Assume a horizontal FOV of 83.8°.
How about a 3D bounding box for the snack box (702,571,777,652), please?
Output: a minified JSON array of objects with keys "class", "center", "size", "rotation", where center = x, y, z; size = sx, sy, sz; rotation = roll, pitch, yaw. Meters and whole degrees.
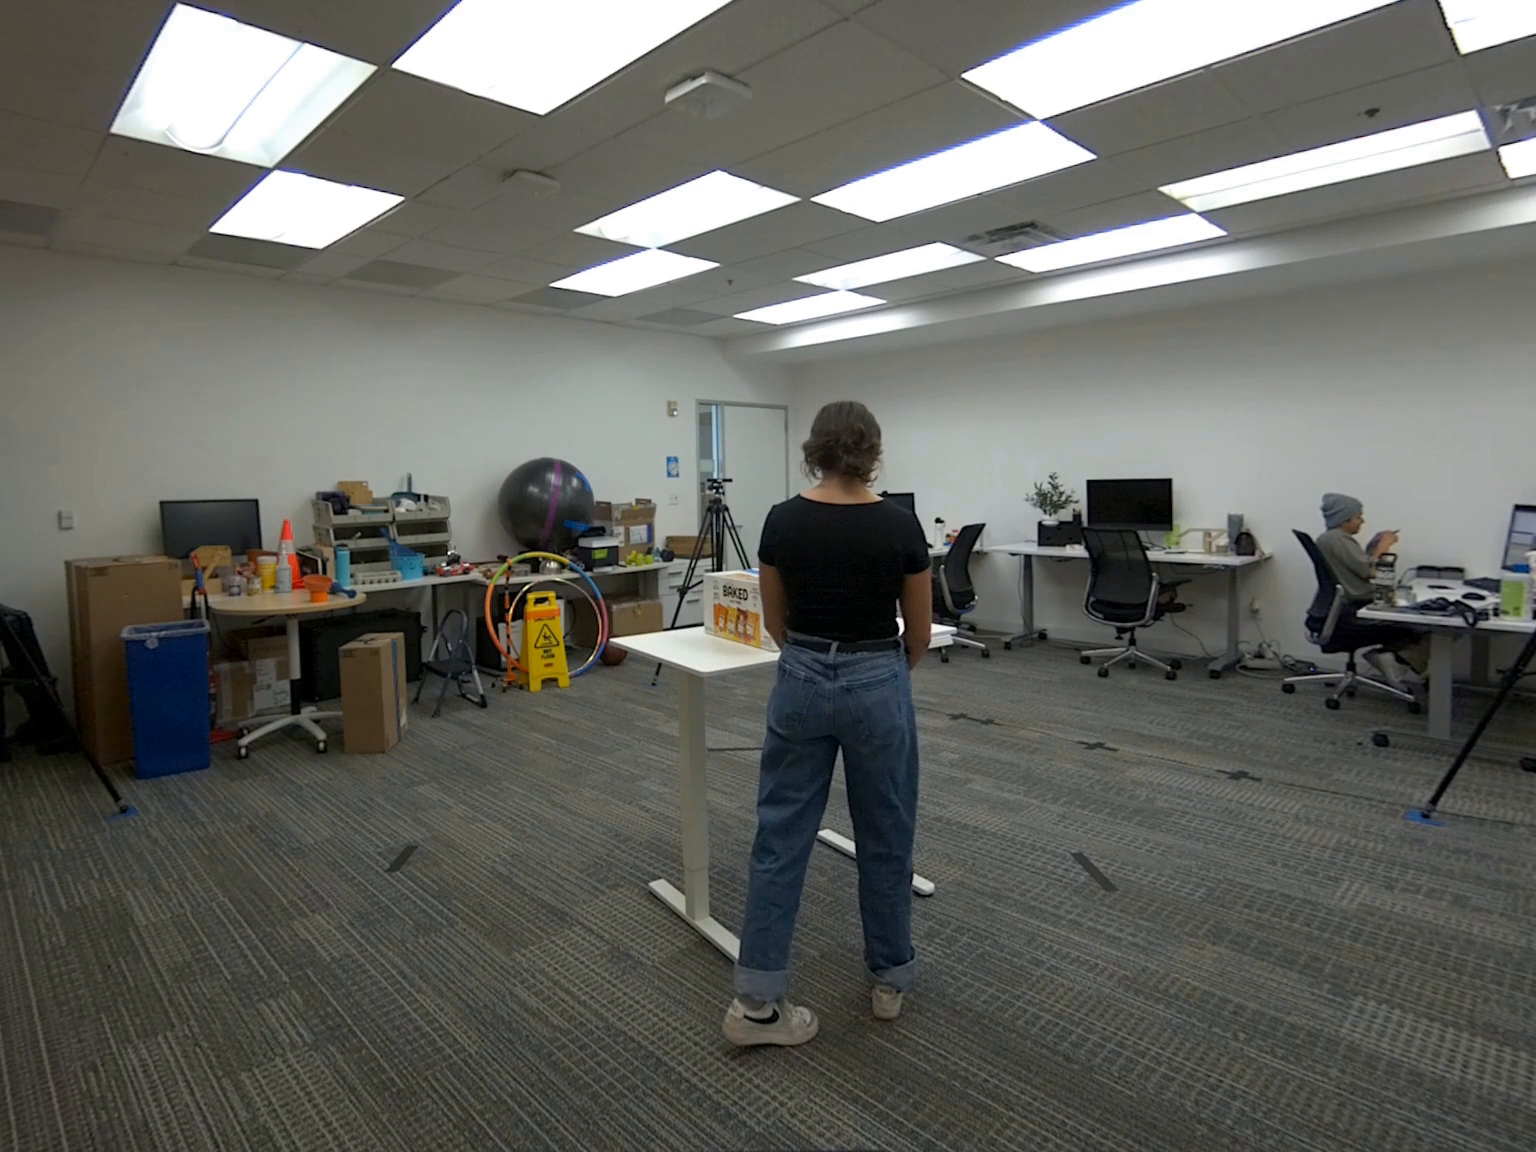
[{"class":"snack box","center":[0.043,0.096,2.788],"size":[0.332,0.205,0.417],"rotation":[-6,7,-33]}]
